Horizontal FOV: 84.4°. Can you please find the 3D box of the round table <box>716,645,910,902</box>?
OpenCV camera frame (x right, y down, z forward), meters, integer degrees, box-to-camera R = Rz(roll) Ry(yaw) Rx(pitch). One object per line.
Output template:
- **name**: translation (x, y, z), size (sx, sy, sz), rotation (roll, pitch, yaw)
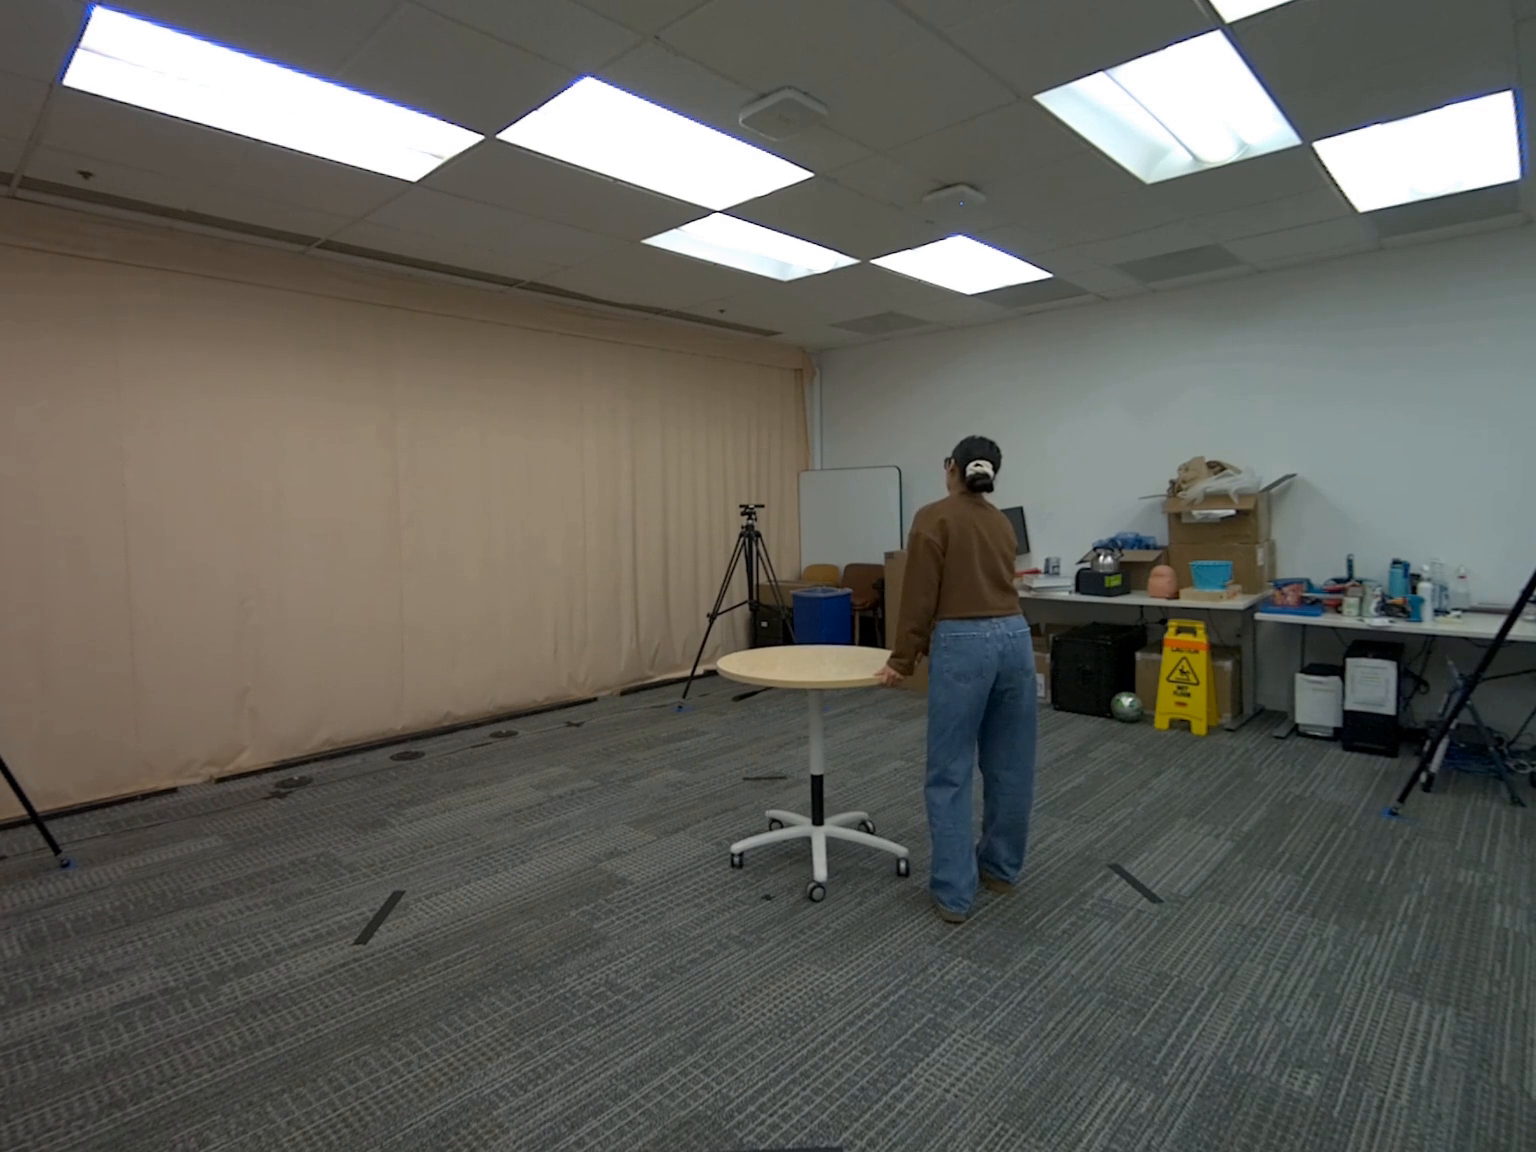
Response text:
- **round table**: translation (0.177, 0.717, 3.275), size (0.784, 0.785, 0.787), rotation (-1, 3, -2)
